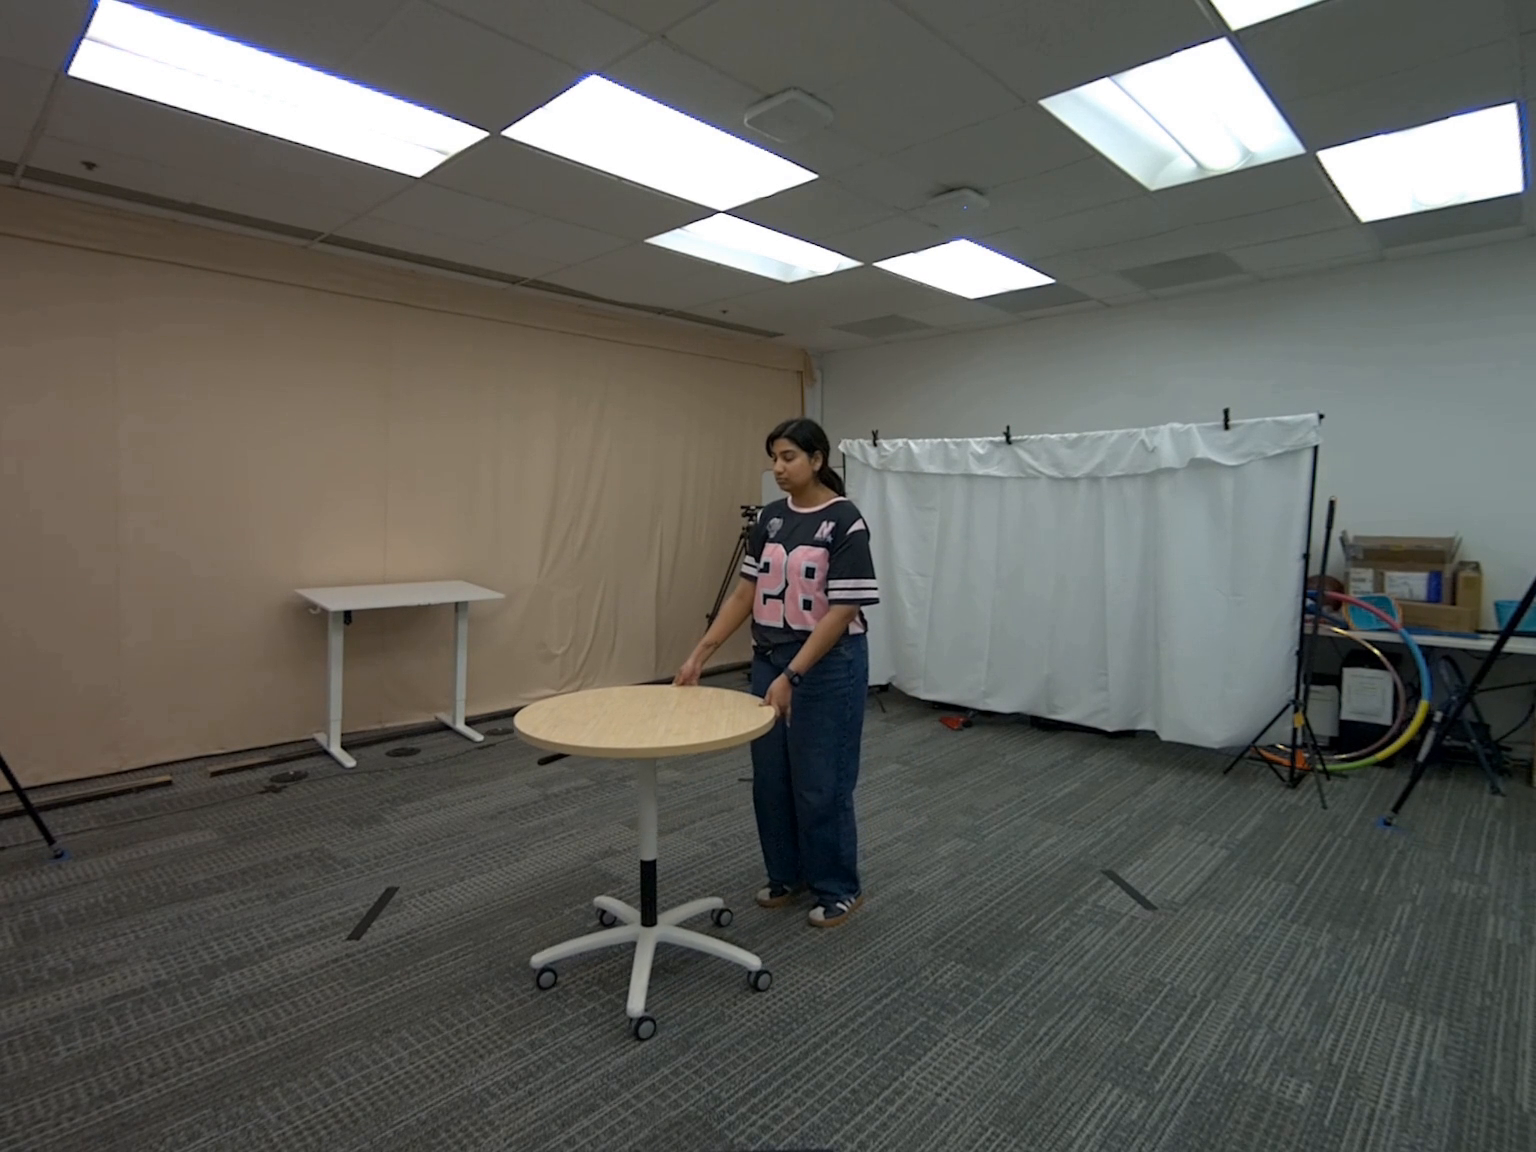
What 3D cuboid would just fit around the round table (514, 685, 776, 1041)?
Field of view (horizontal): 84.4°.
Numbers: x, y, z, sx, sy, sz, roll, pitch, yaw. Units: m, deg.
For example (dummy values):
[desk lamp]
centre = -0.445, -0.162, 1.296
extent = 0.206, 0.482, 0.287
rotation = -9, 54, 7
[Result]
[round table]
centre = -0.342, 0.790, 2.521
extent = 0.784, 0.785, 0.788
rotation = -1, 4, -2
